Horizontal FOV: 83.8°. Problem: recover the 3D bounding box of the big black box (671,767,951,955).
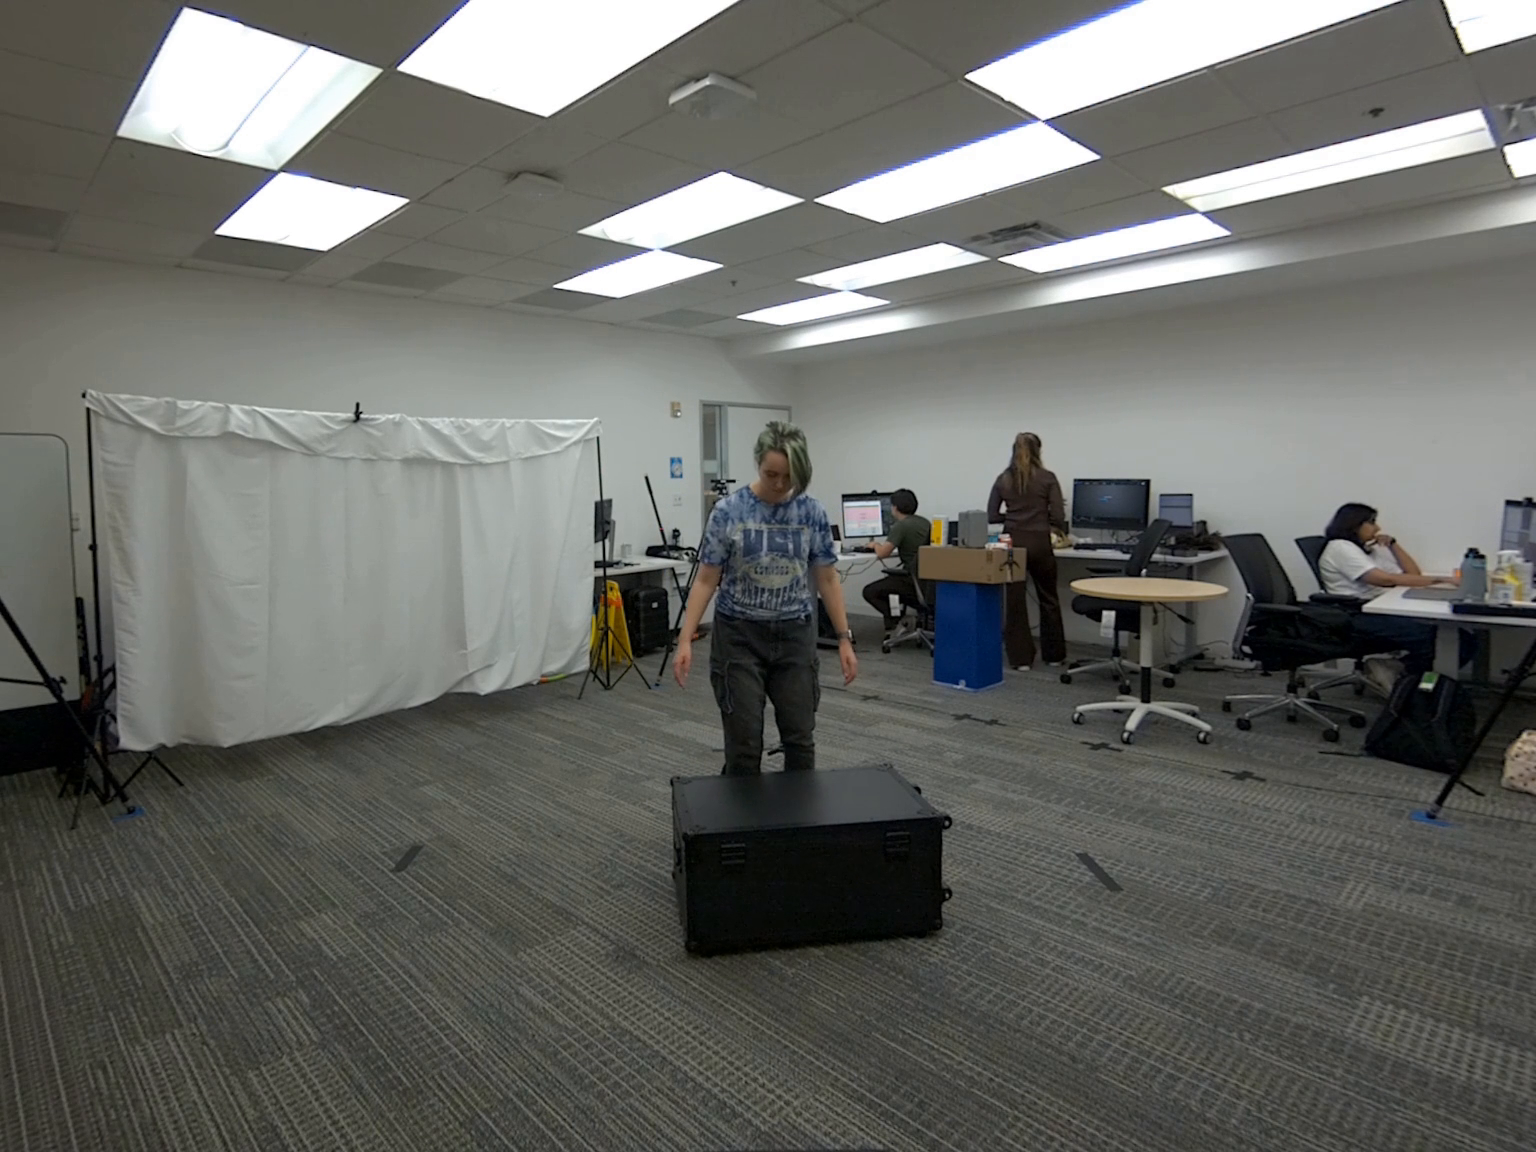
[{"bbox_3d":[0.072,0.891,2.759,0.854,0.395,0.527,-1,5,-9],"label":"big black box"}]
